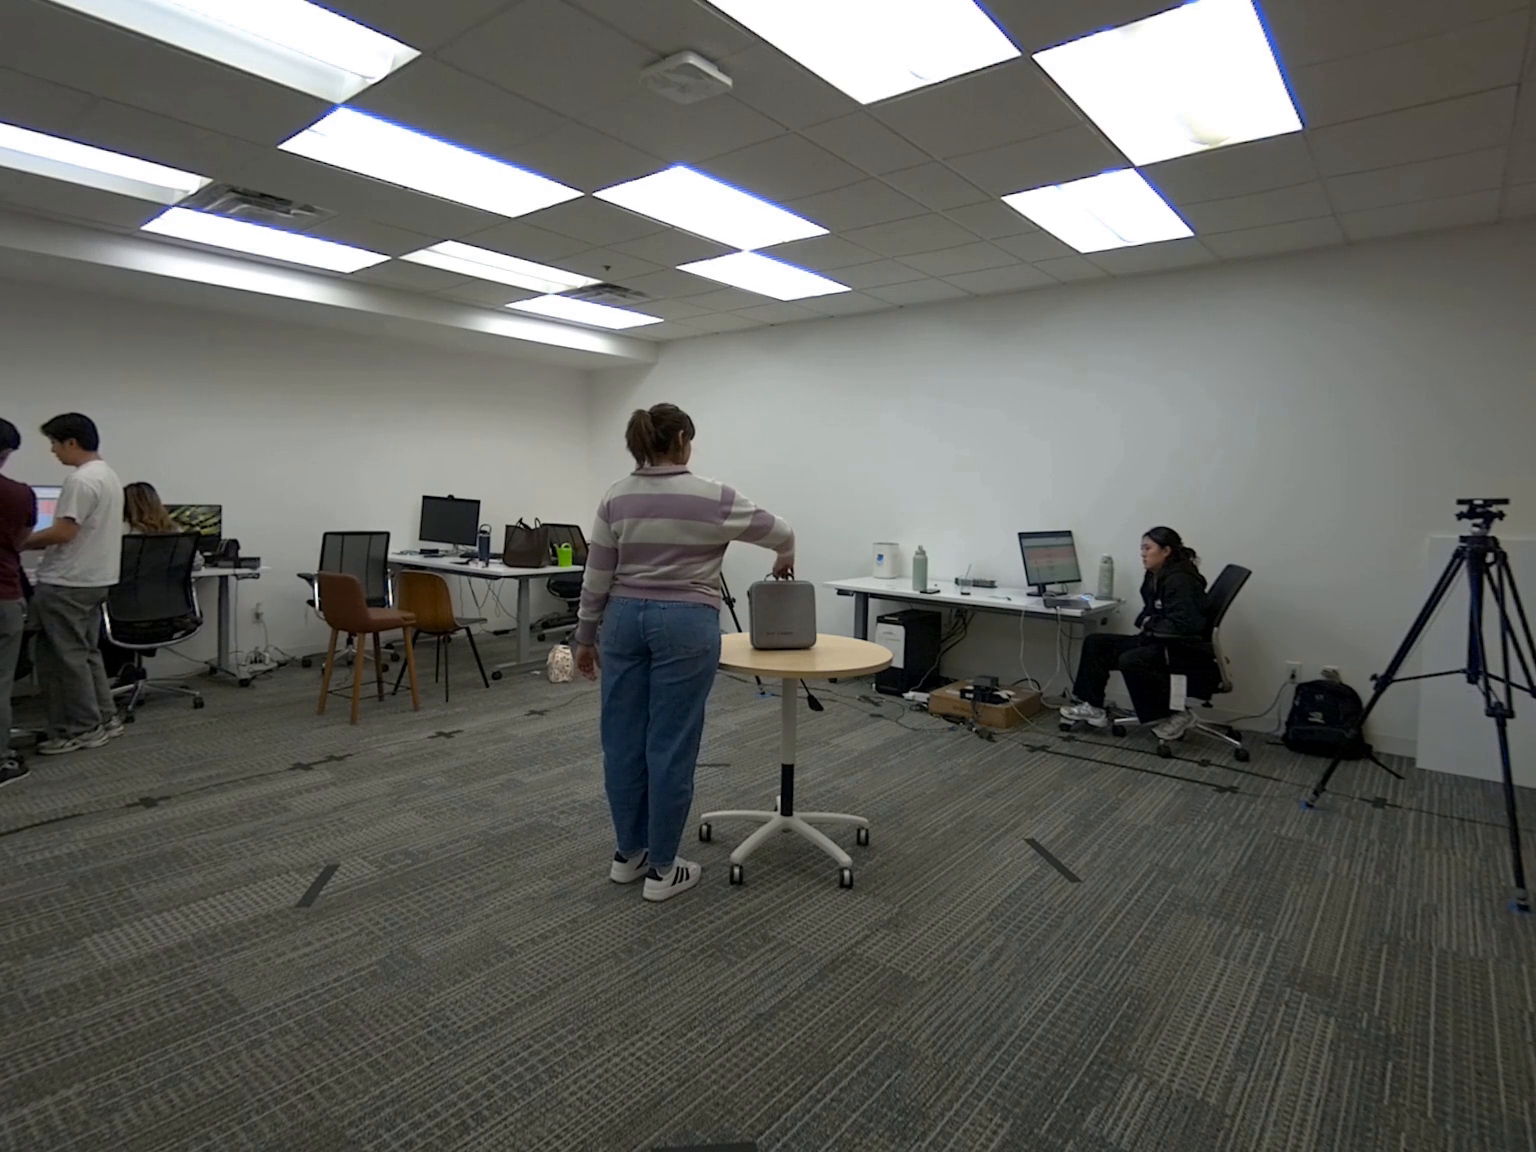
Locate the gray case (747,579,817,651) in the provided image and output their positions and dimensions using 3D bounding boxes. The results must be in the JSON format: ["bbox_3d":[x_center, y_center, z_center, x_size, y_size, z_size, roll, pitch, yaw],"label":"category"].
[{"bbox_3d":[0.047,0.144,3.275,0.254,0.262,0.105,3,-6,-10],"label":"gray case"}]
